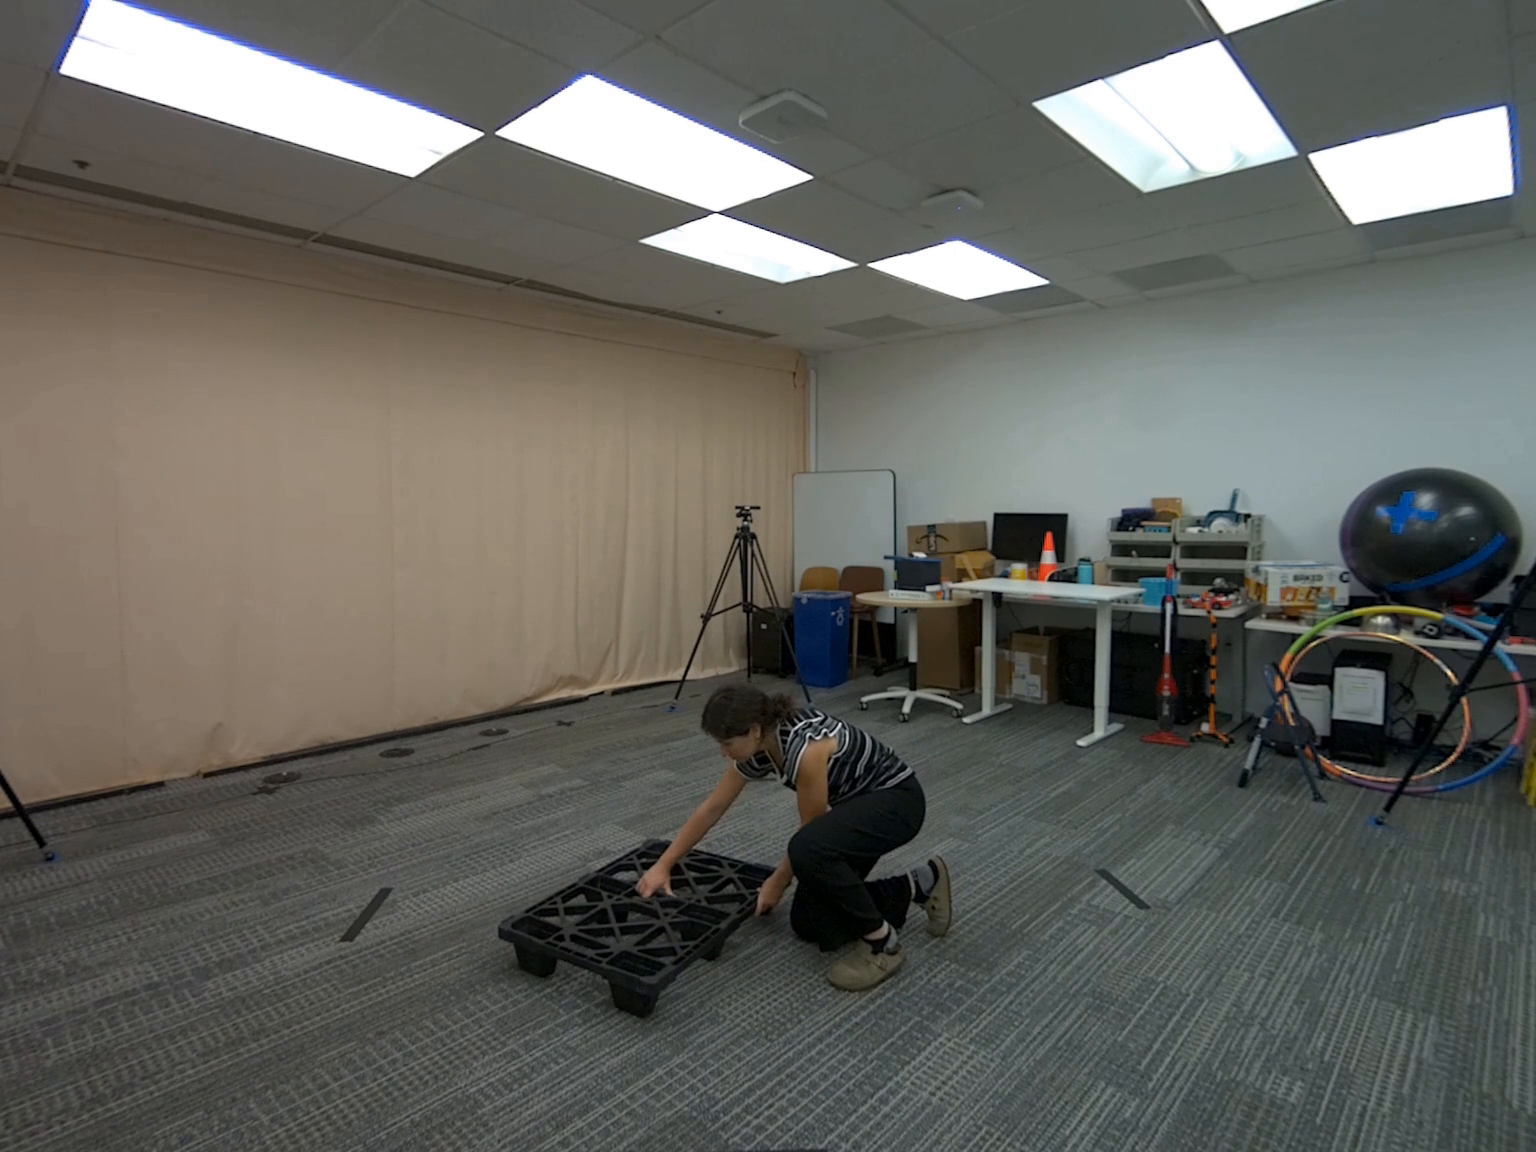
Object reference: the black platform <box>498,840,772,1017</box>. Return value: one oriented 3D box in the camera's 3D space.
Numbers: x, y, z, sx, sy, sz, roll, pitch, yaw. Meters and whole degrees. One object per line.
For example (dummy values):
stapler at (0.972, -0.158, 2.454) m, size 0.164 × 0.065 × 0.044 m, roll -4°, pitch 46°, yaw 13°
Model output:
black platform at (-0.371, 1.099, 2.716) m, size 0.623 × 0.143 × 0.784 m, roll 2°, pitch 5°, yaw 31°
